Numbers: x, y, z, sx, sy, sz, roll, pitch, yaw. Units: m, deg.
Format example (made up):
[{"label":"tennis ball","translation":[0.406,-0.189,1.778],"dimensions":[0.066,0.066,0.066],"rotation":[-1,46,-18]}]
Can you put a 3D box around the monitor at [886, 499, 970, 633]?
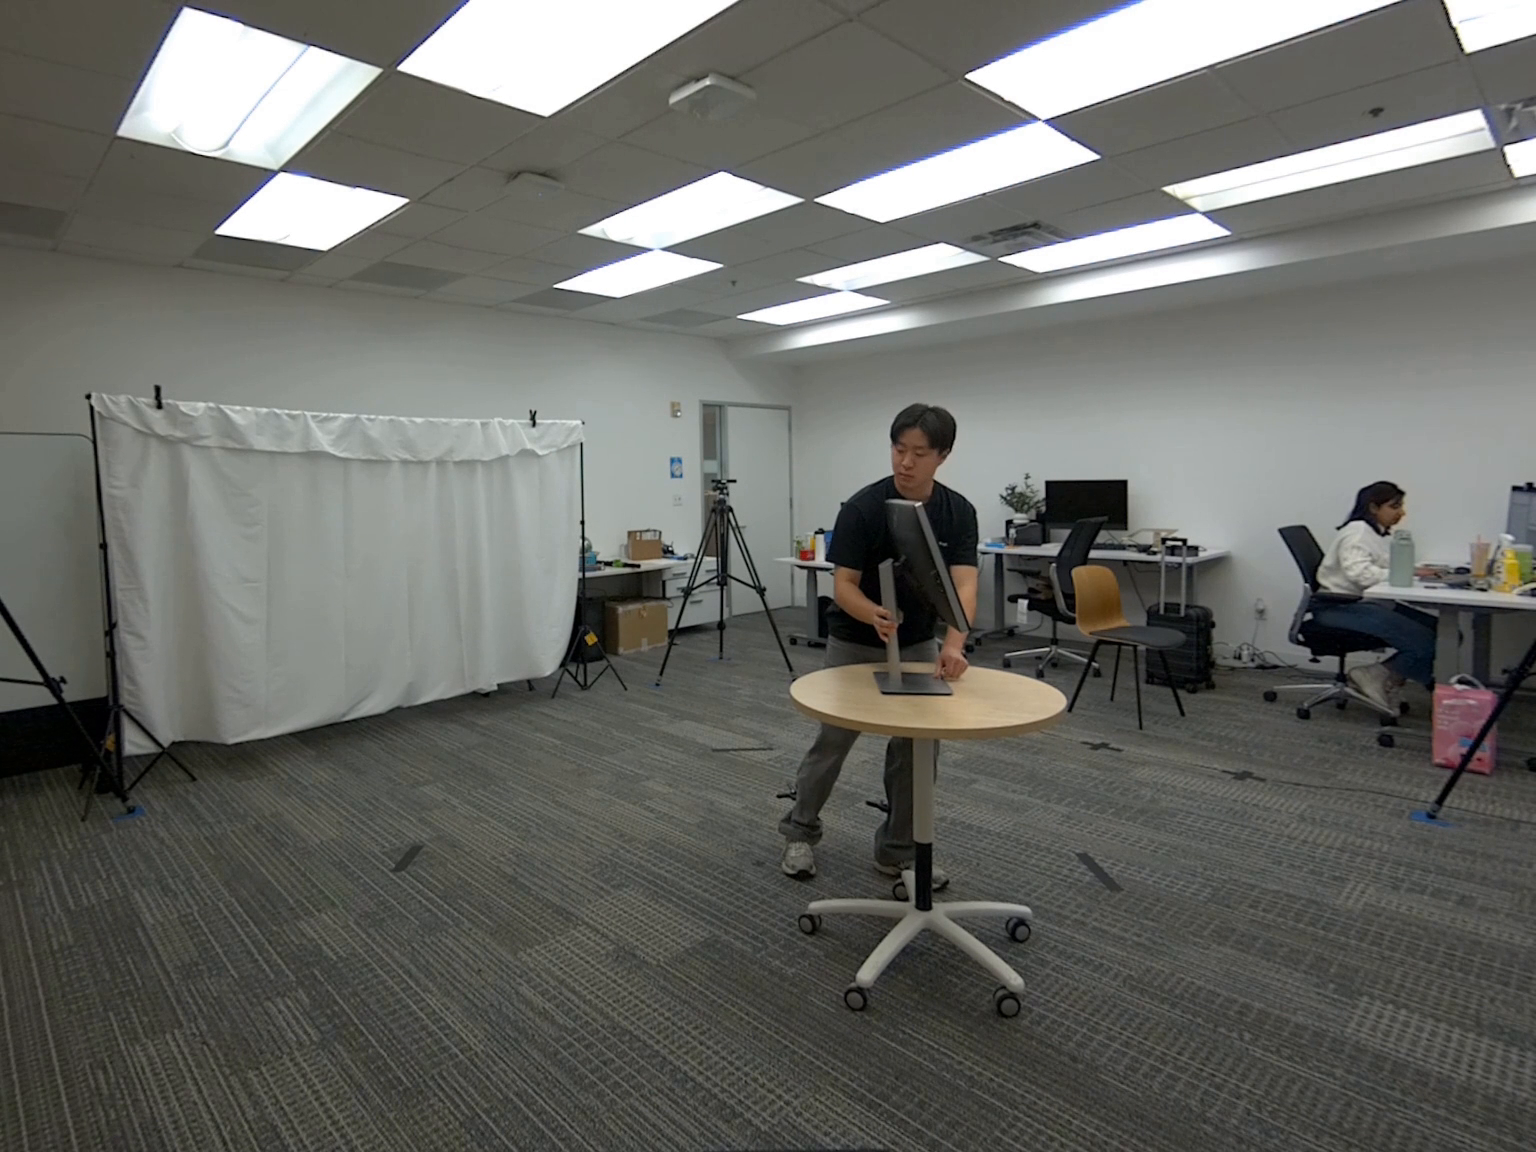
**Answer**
[{"label":"monitor","translation":[0.430,0.059,2.504],"dimensions":[0.223,0.564,0.562],"rotation":[-1,5,3]}]
